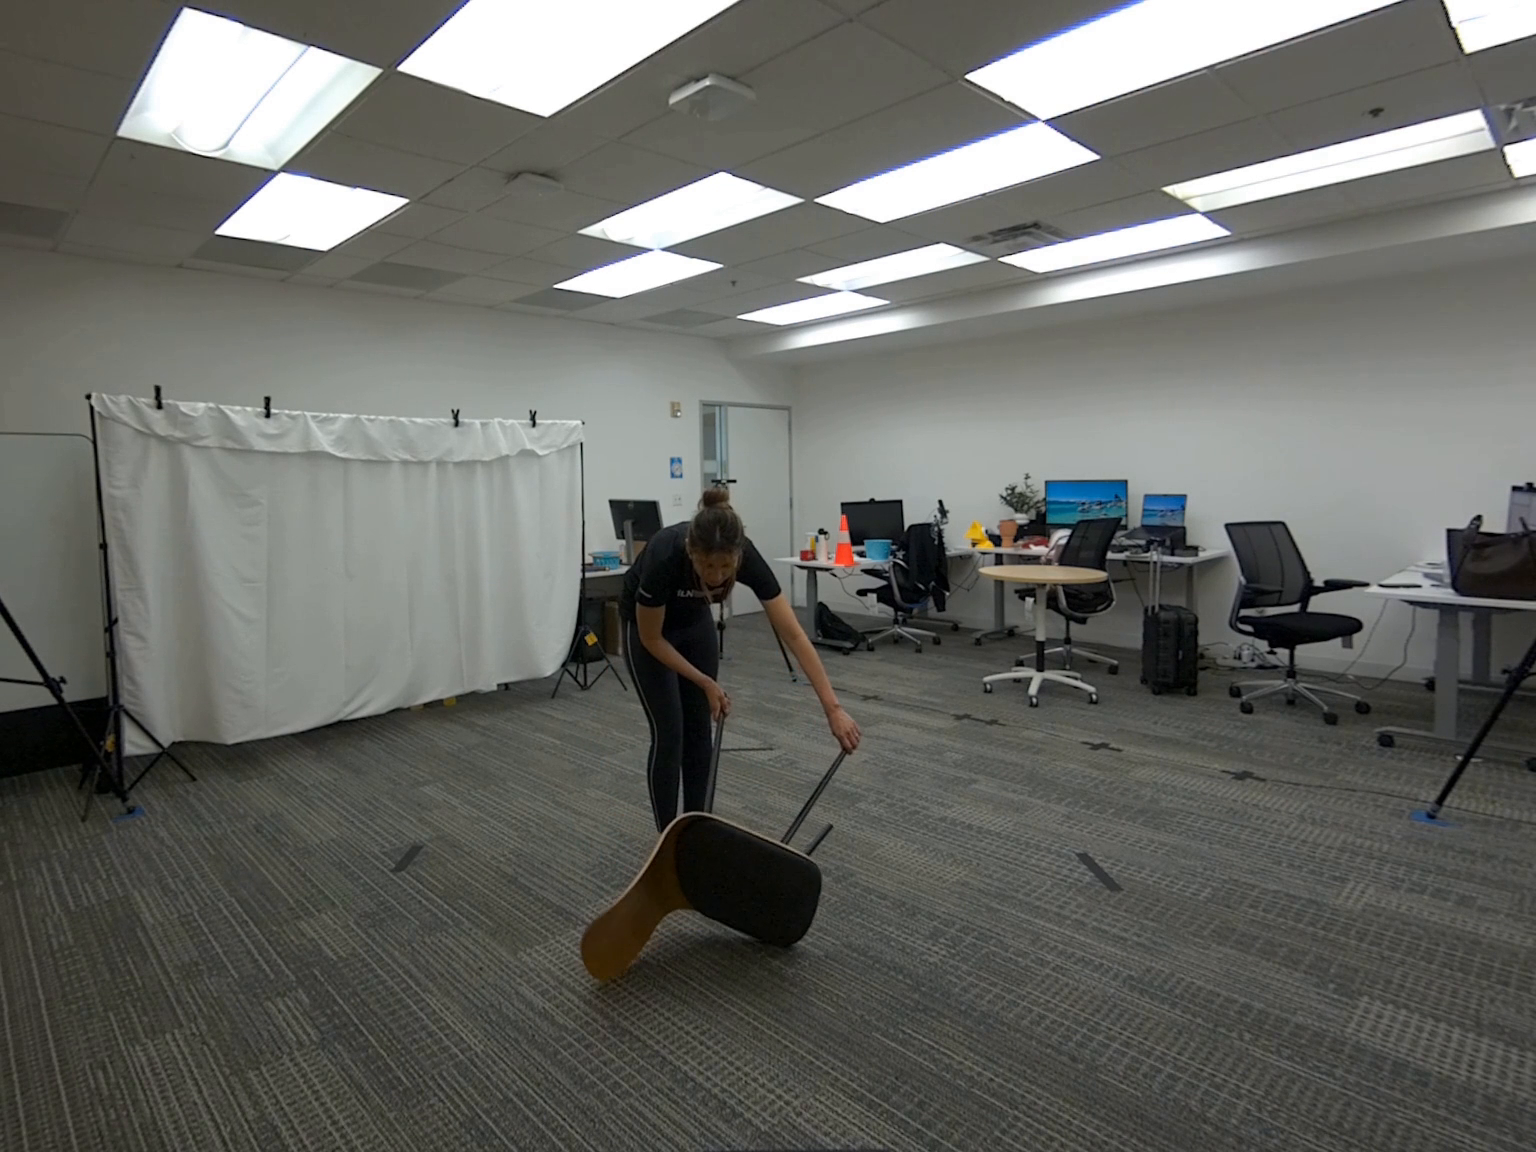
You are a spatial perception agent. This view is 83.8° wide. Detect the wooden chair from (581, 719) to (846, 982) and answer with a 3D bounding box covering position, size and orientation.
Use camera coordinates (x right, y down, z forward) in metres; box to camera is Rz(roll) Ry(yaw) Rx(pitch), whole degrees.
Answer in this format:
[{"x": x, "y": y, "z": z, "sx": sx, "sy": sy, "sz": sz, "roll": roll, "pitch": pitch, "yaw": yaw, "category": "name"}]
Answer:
[{"x": -0.091, "y": 0.858, "z": 2.528, "sx": 0.534, "sy": 0.467, "sz": 0.879, "roll": 19, "pitch": 38, "yaw": 16, "category": "wooden chair"}]
